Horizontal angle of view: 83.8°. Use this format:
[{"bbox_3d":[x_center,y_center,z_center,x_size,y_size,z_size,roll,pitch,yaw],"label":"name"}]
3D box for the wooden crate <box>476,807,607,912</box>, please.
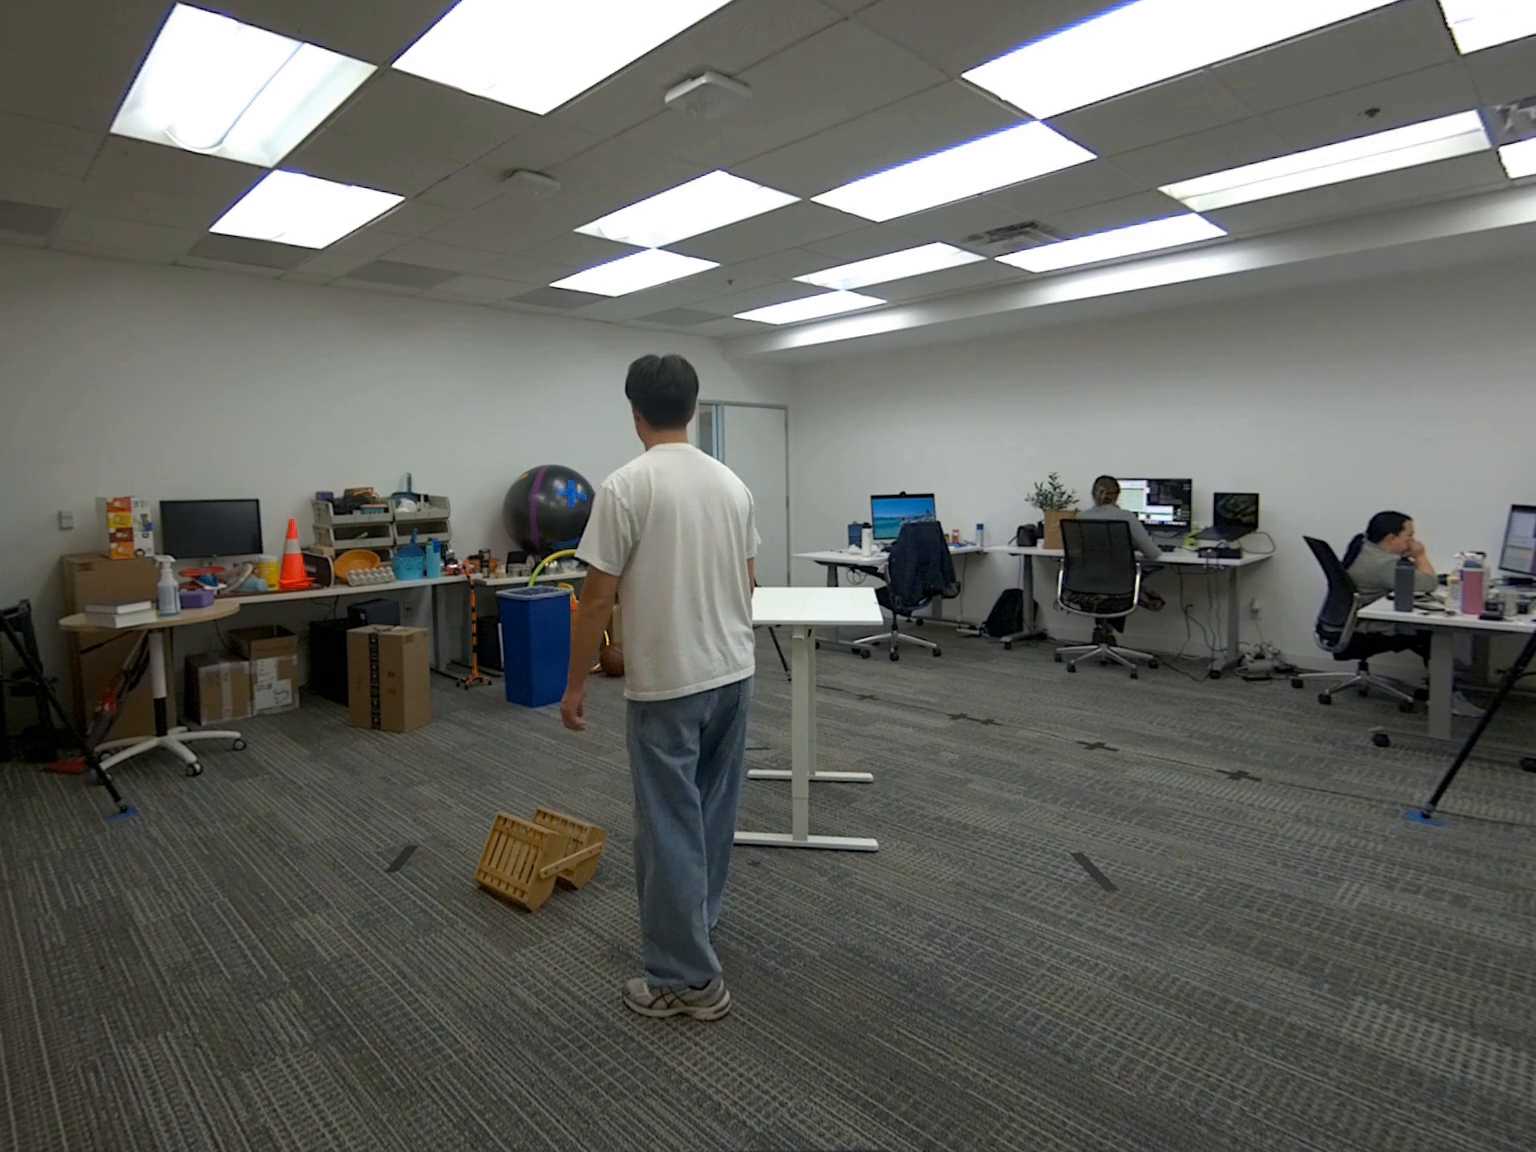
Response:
[{"bbox_3d":[-0.790,0.984,2.990,0.334,0.305,0.263,3,-21,39],"label":"wooden crate"}]
